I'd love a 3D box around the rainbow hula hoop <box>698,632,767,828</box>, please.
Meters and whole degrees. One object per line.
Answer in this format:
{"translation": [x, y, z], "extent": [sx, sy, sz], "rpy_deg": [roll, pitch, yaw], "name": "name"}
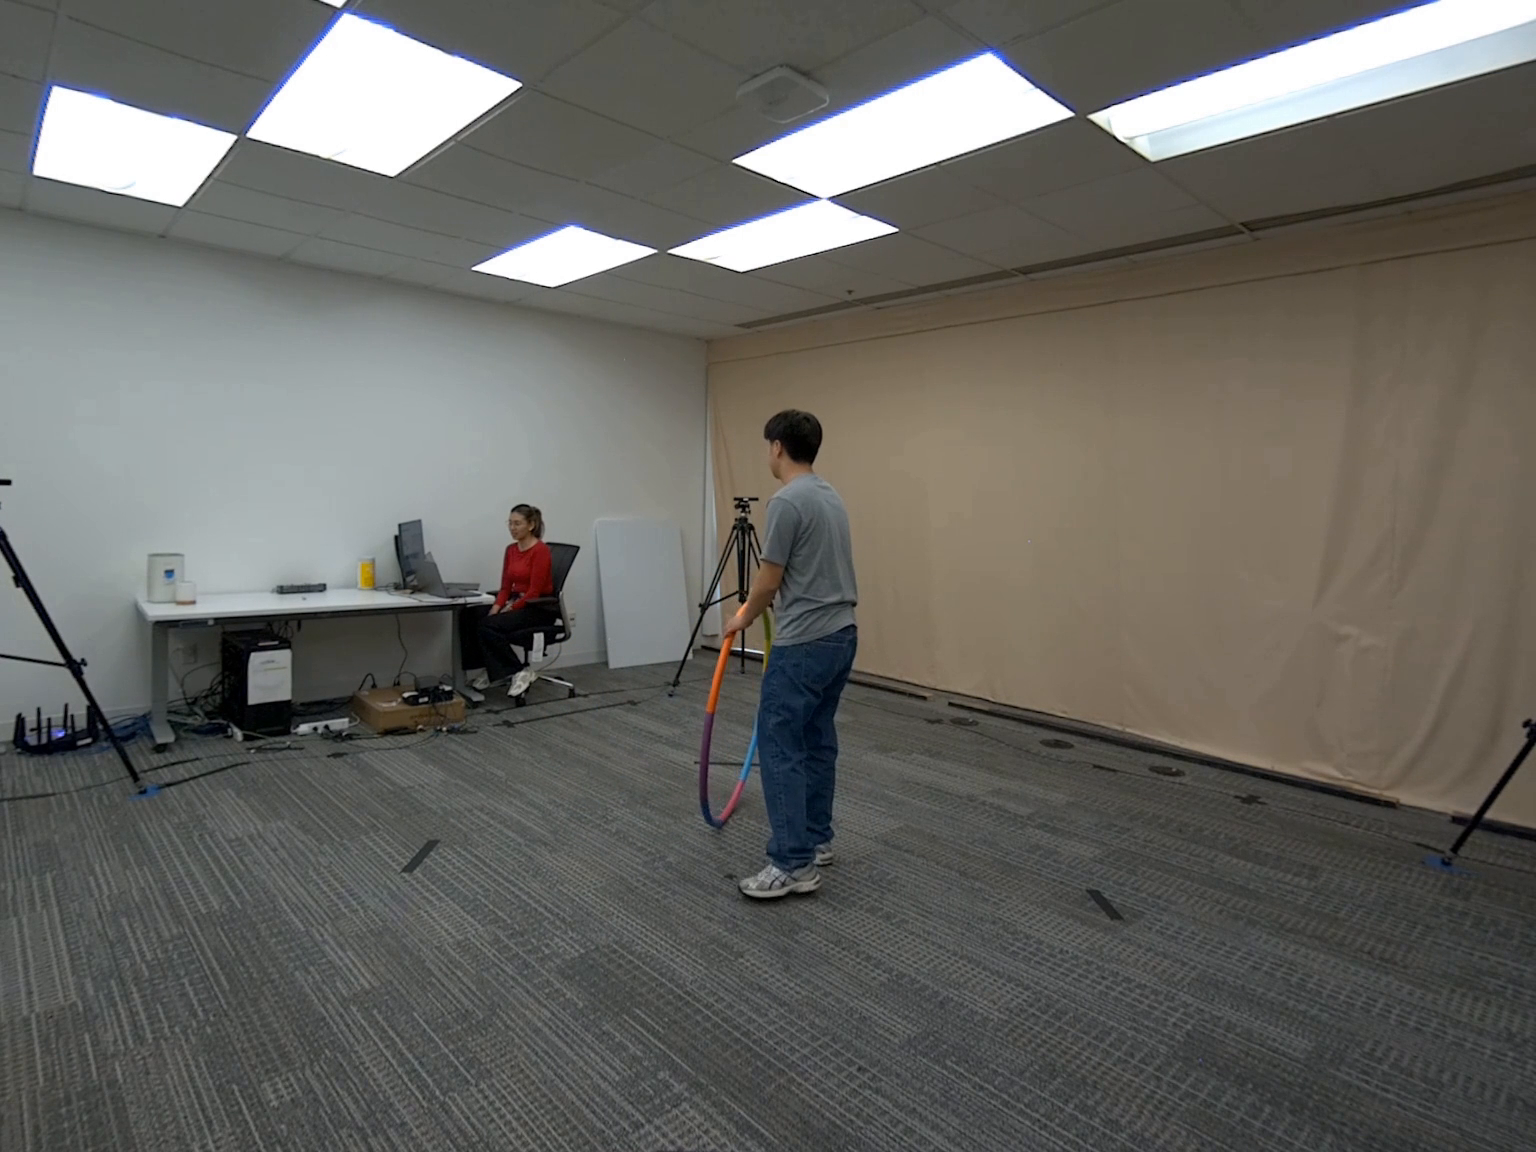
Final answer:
{"translation": [-0.144, 0.575, 3.630], "extent": [0.036, 0.975, 0.970], "rpy_deg": [9, 6, 12], "name": "rainbow hula hoop"}
